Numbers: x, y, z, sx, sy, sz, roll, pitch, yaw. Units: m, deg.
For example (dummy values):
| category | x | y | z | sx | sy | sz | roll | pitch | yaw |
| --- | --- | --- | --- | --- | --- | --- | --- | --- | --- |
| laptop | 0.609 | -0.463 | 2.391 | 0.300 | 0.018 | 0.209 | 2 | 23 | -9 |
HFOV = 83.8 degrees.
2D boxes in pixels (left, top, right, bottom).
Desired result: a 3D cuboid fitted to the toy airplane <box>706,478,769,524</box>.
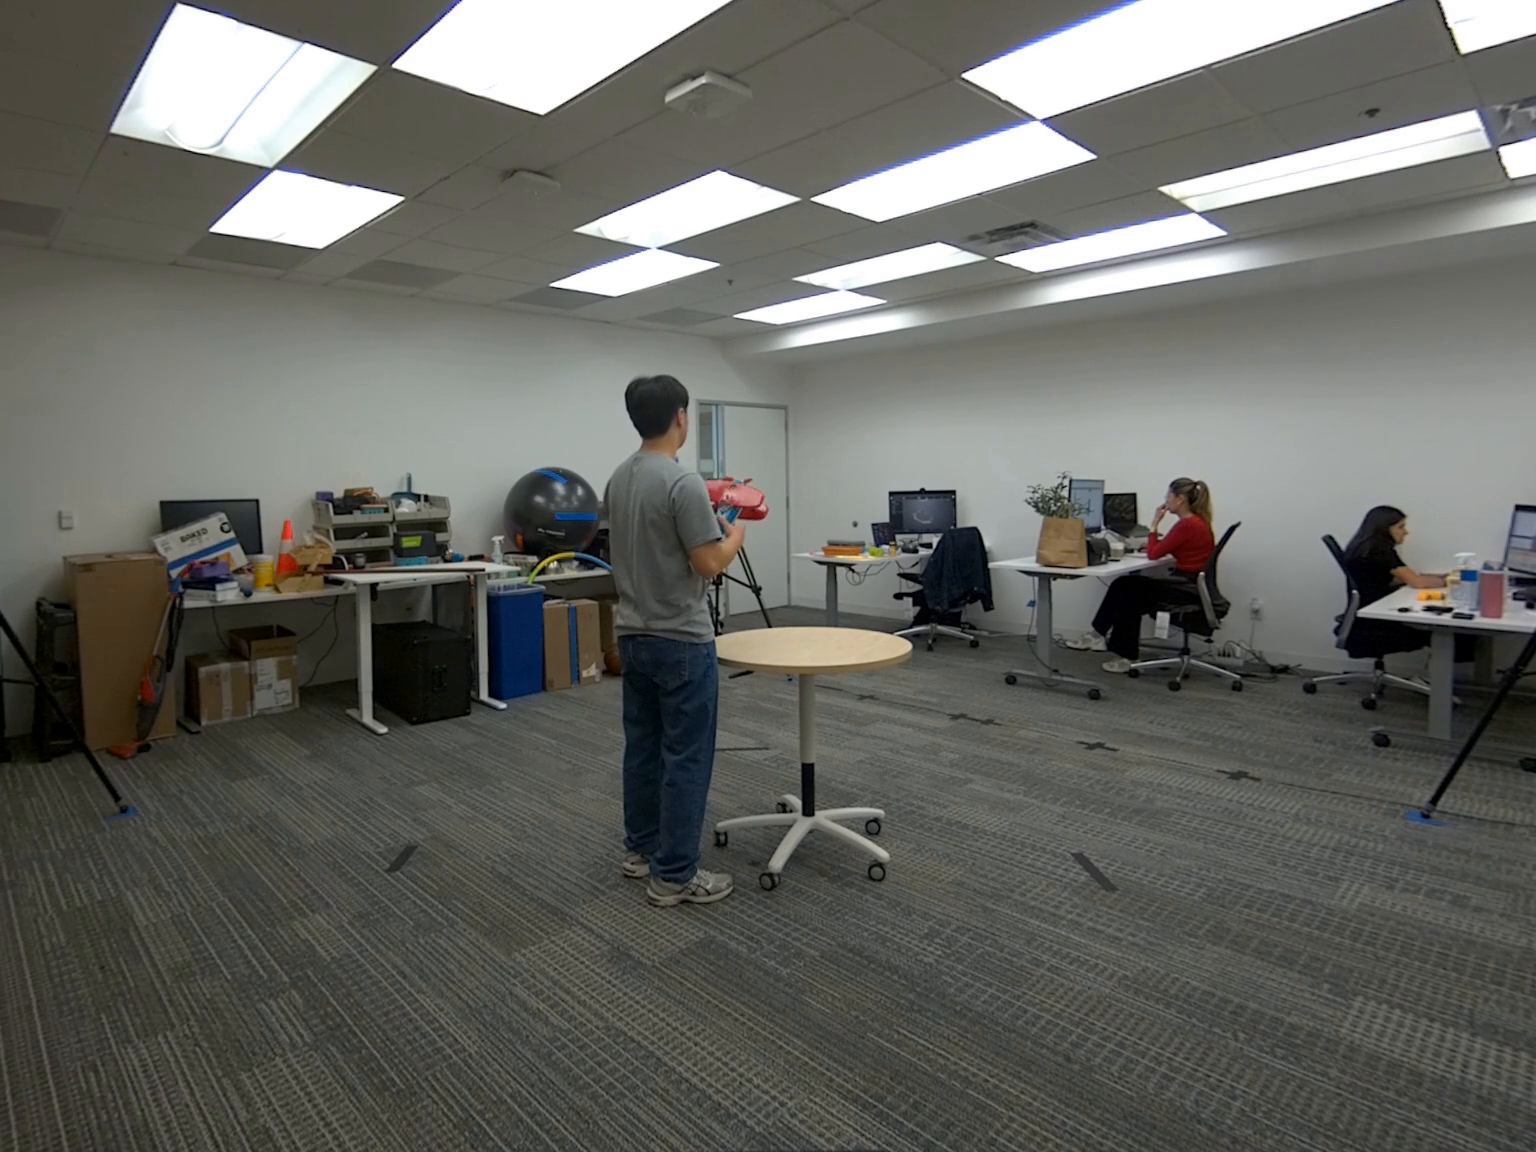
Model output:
| category | x | y | z | sx | sy | sz | roll | pitch | yaw |
| --- | --- | --- | --- | --- | --- | --- | --- | --- | --- |
| toy airplane | -0.123 | -0.215 | 3.116 | 0.252 | 0.151 | 0.267 | -8 | 42 | 4 |
